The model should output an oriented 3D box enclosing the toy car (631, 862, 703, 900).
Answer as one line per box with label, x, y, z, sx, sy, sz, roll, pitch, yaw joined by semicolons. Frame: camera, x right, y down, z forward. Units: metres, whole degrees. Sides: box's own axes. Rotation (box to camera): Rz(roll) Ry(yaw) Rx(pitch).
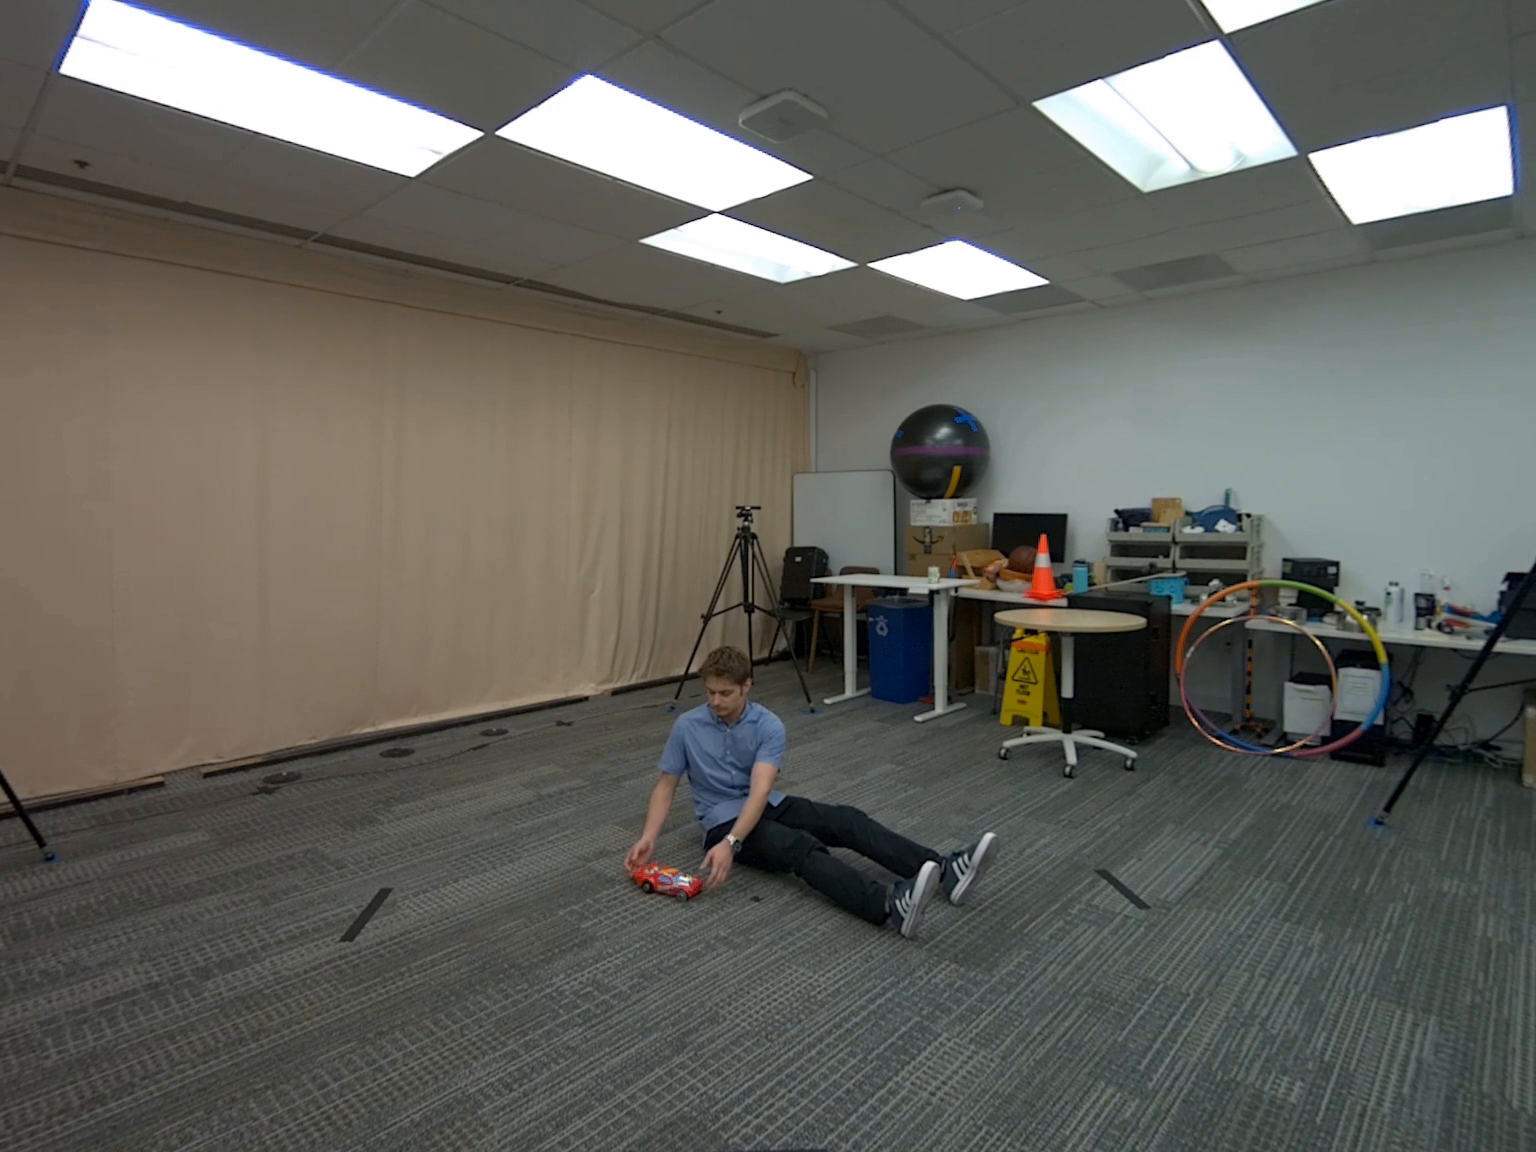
toy car;-0.365;1.112;3.055;0.261;0.083;0.128;11;11;22
